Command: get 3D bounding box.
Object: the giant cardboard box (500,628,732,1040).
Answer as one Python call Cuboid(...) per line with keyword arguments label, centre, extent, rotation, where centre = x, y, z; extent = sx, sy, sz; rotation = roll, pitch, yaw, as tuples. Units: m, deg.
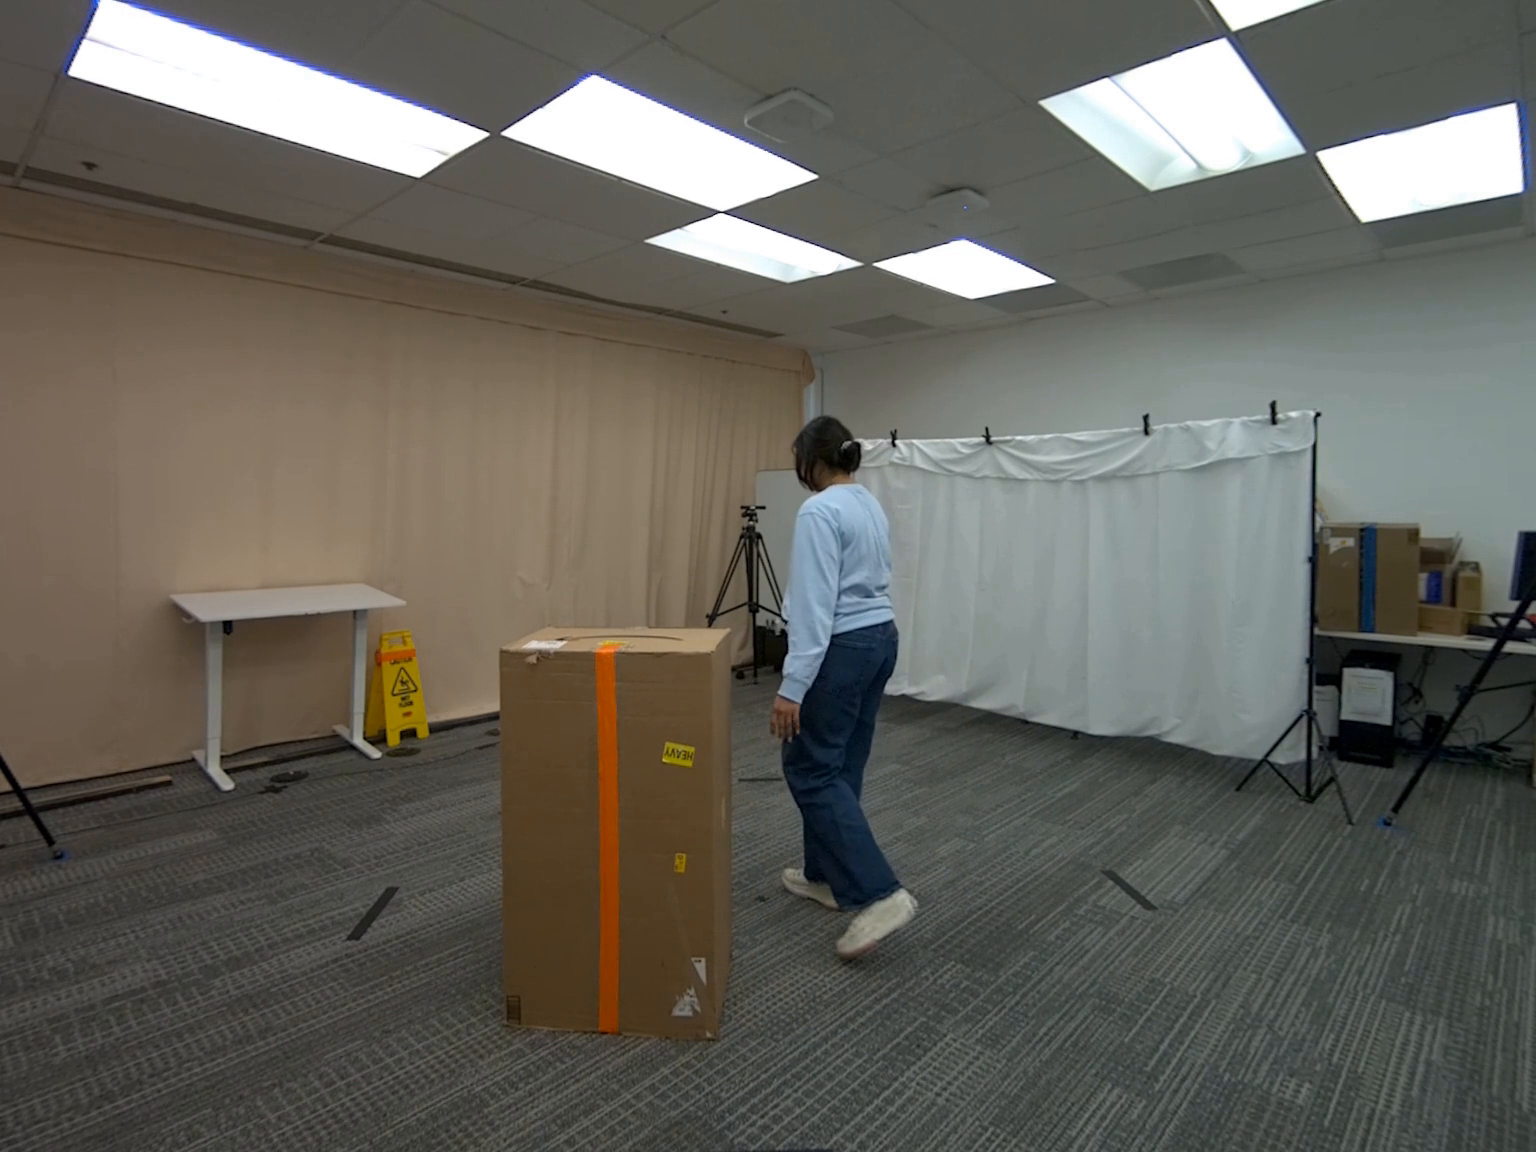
Cuboid(label="giant cardboard box", centre=(-0.411, 0.687, 2.399), extent=(0.582, 1.024, 0.424), rotation=(0, 2, 6))
